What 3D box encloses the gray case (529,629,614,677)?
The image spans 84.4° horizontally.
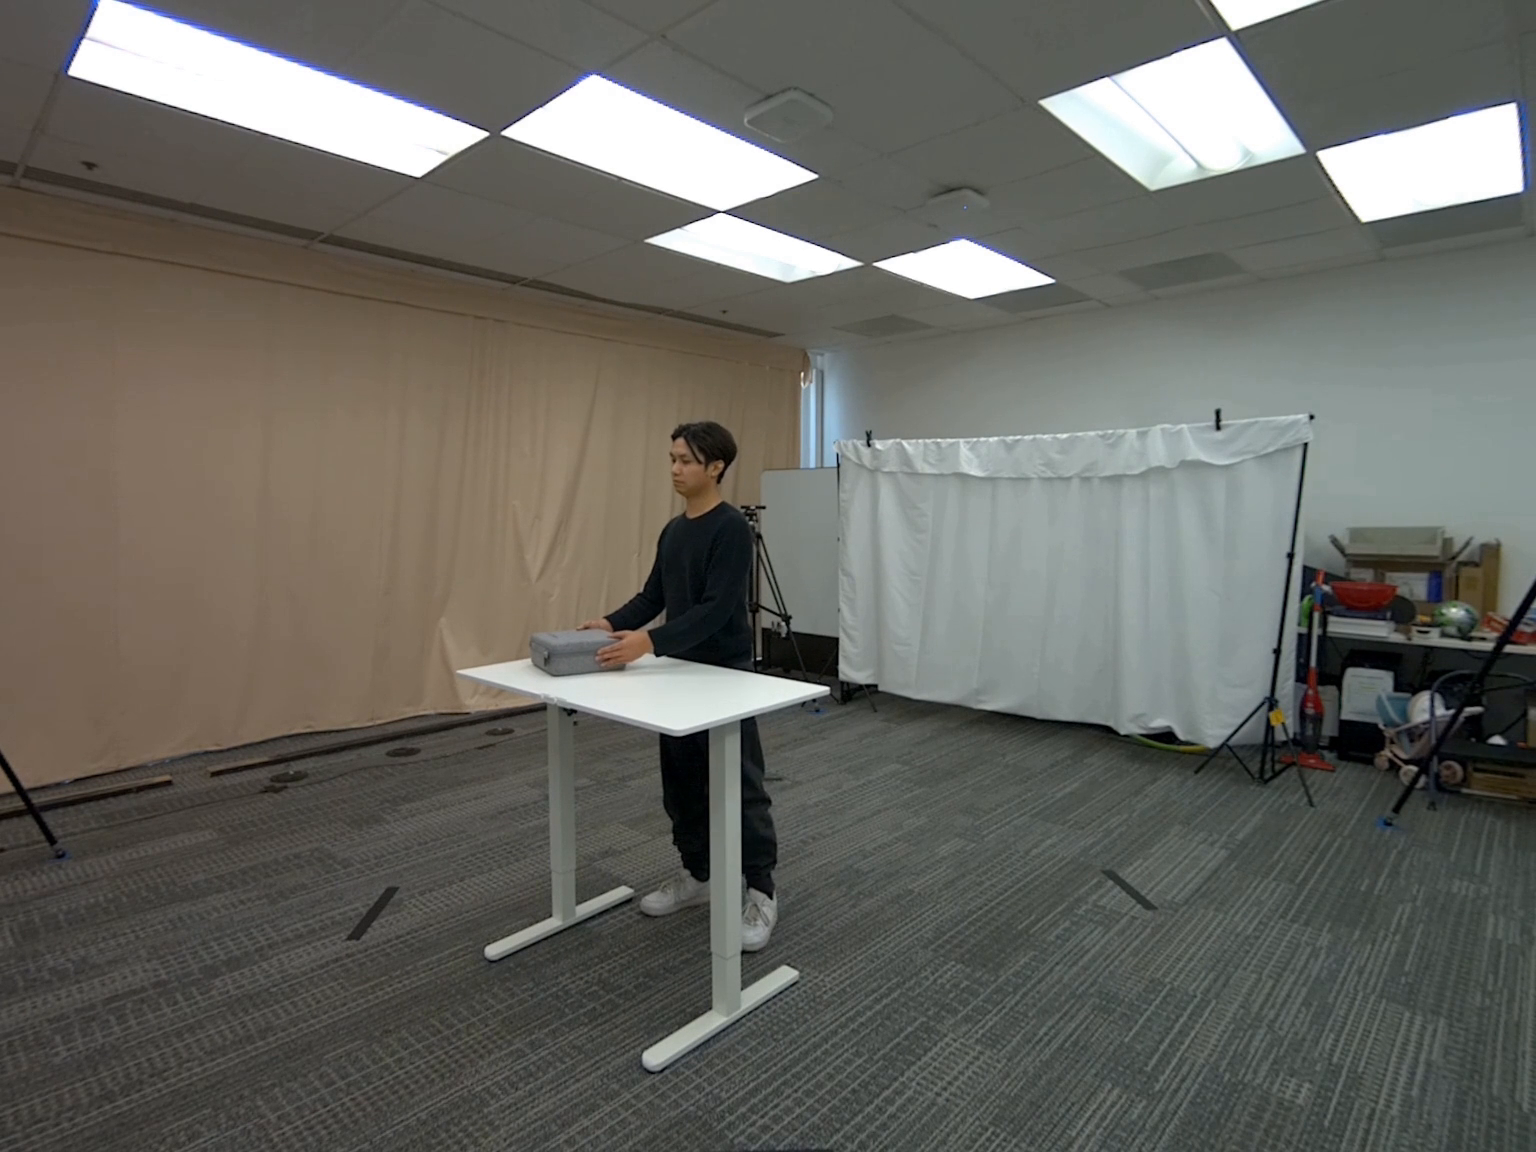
[{"bbox_3d":[-0.606,0.239,2.676,0.253,0.104,0.265,-4,6,-33],"label":"gray case"}]
